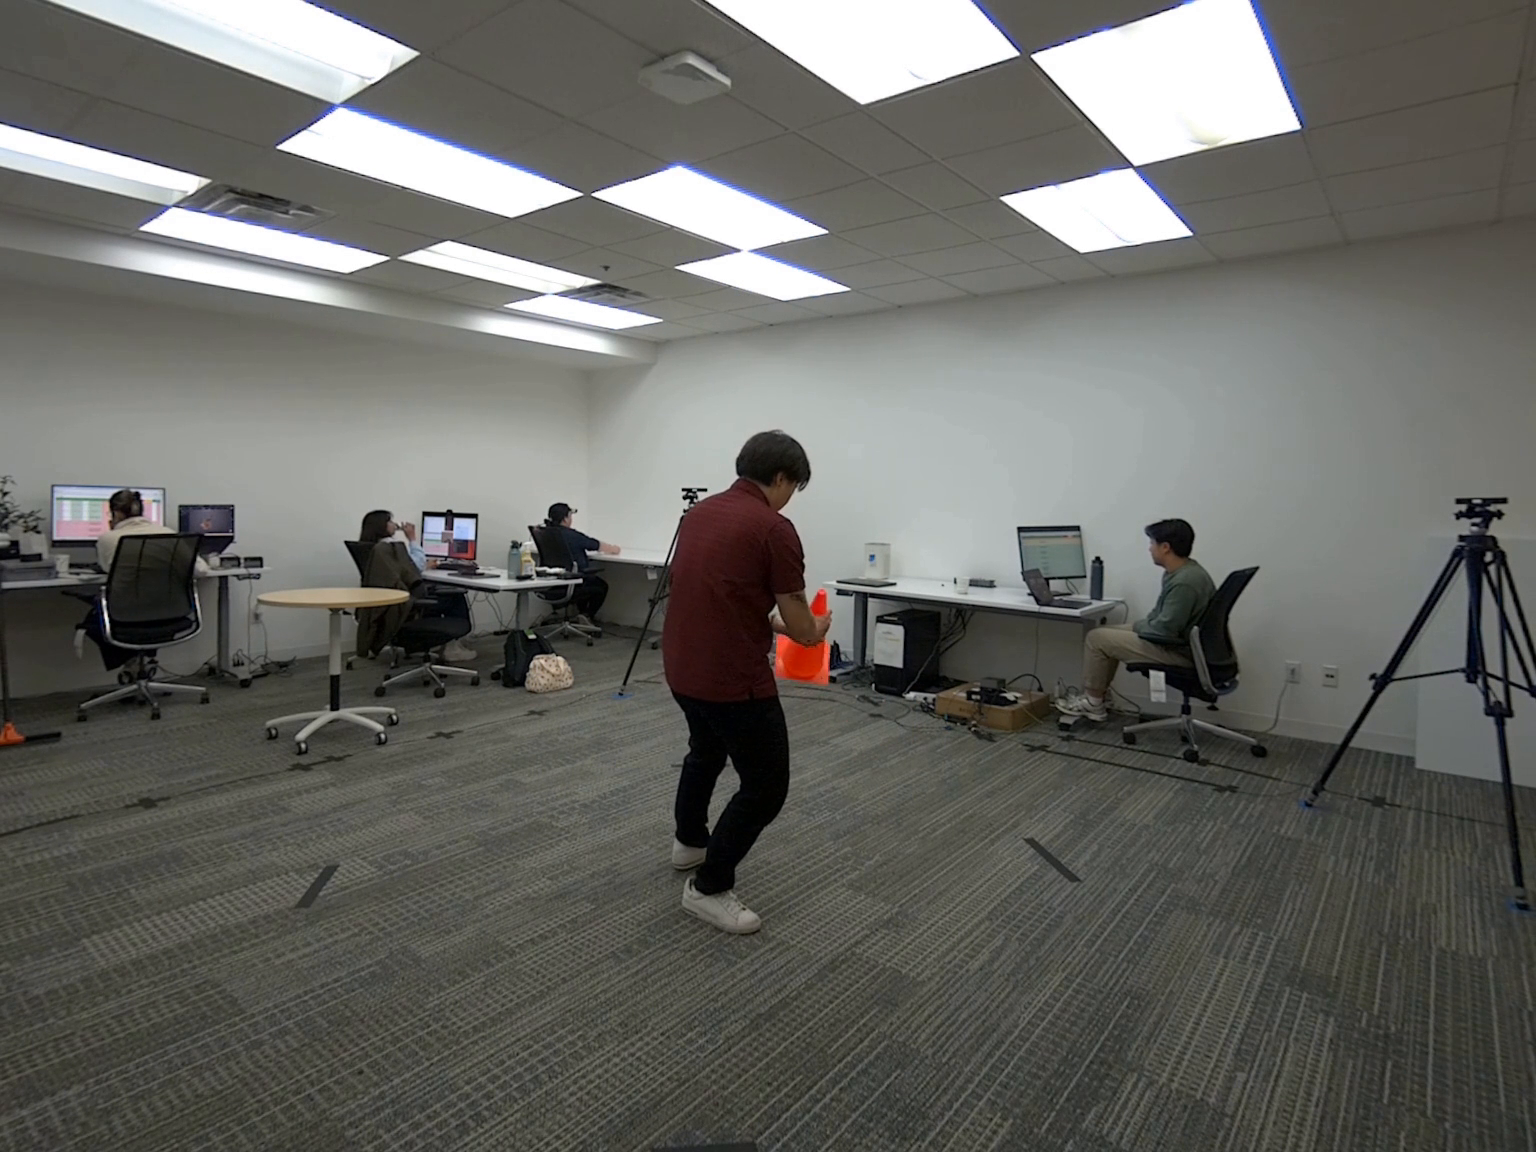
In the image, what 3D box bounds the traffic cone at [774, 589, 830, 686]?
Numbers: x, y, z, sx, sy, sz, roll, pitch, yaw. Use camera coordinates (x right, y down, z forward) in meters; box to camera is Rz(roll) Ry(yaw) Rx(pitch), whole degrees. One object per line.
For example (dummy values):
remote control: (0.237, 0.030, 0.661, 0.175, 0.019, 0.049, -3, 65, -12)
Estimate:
traffic cone: (0.158, 0.182, 3.004, 0.203, 0.375, 0.210, 10, 44, -1)
